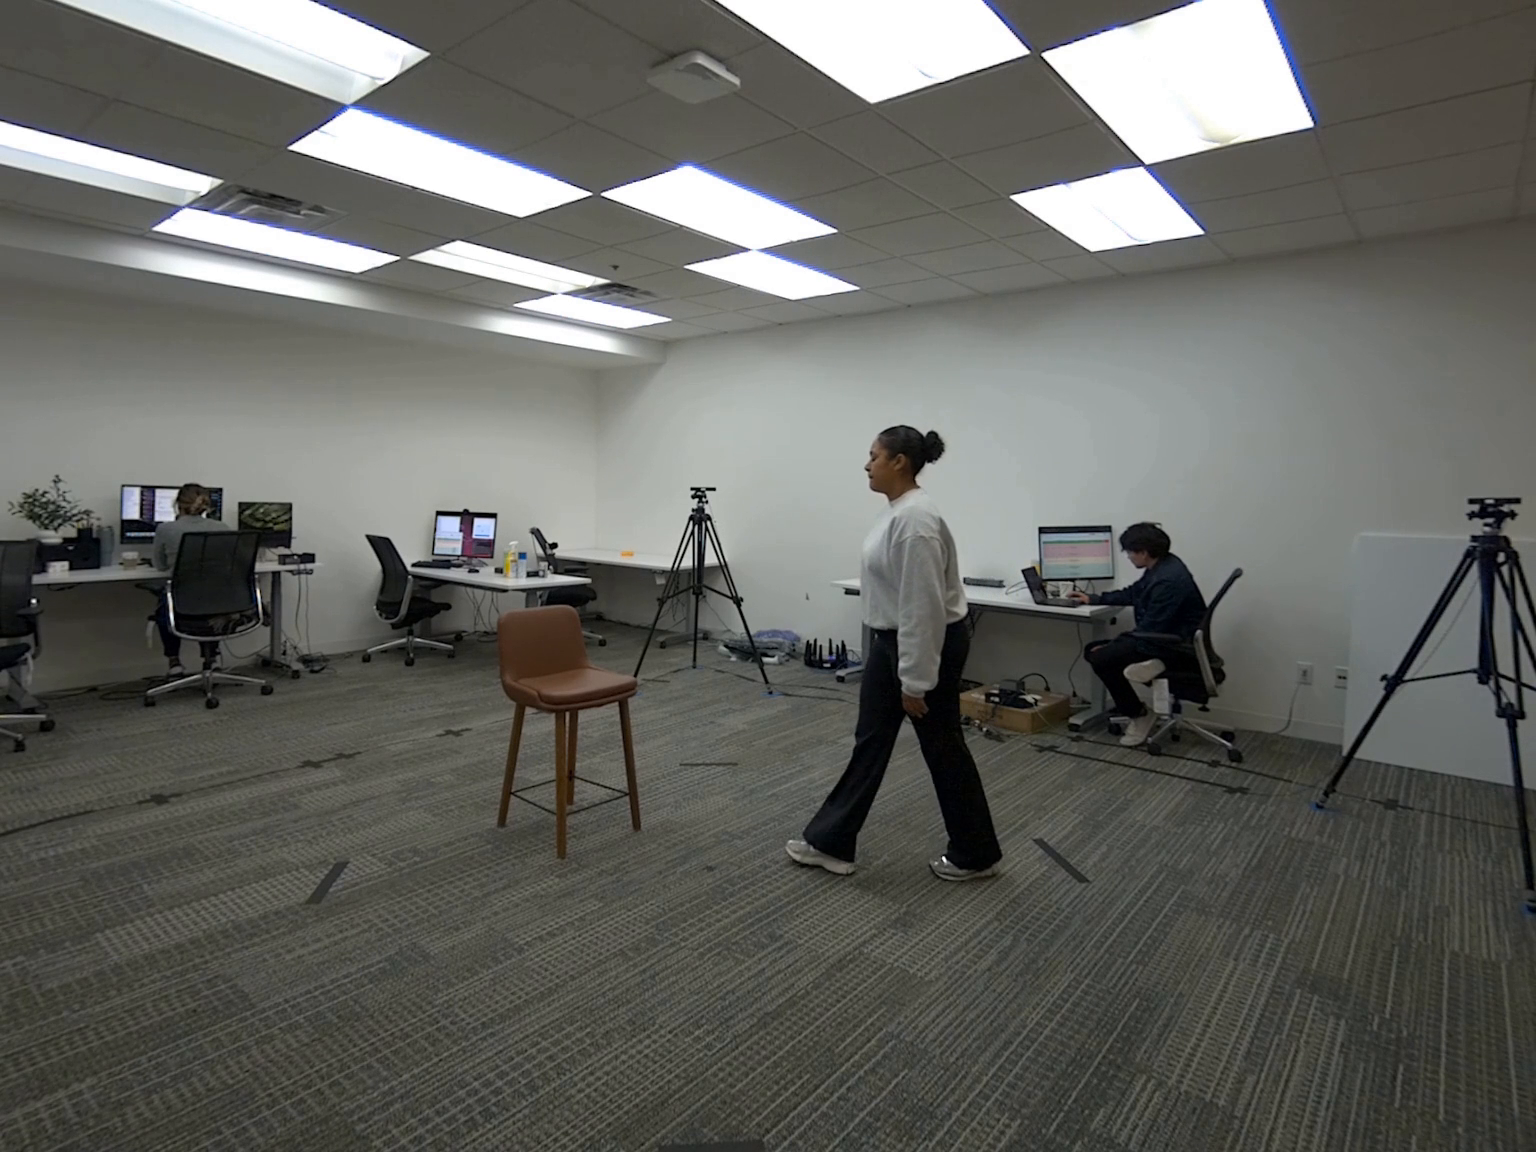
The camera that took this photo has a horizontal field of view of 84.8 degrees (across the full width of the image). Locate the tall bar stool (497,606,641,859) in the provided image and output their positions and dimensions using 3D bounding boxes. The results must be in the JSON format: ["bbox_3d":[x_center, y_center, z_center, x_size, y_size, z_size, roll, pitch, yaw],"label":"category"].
[{"bbox_3d":[-0.821,0.585,3.444,0.482,0.889,0.442,1,2,41],"label":"tall bar stool"}]
